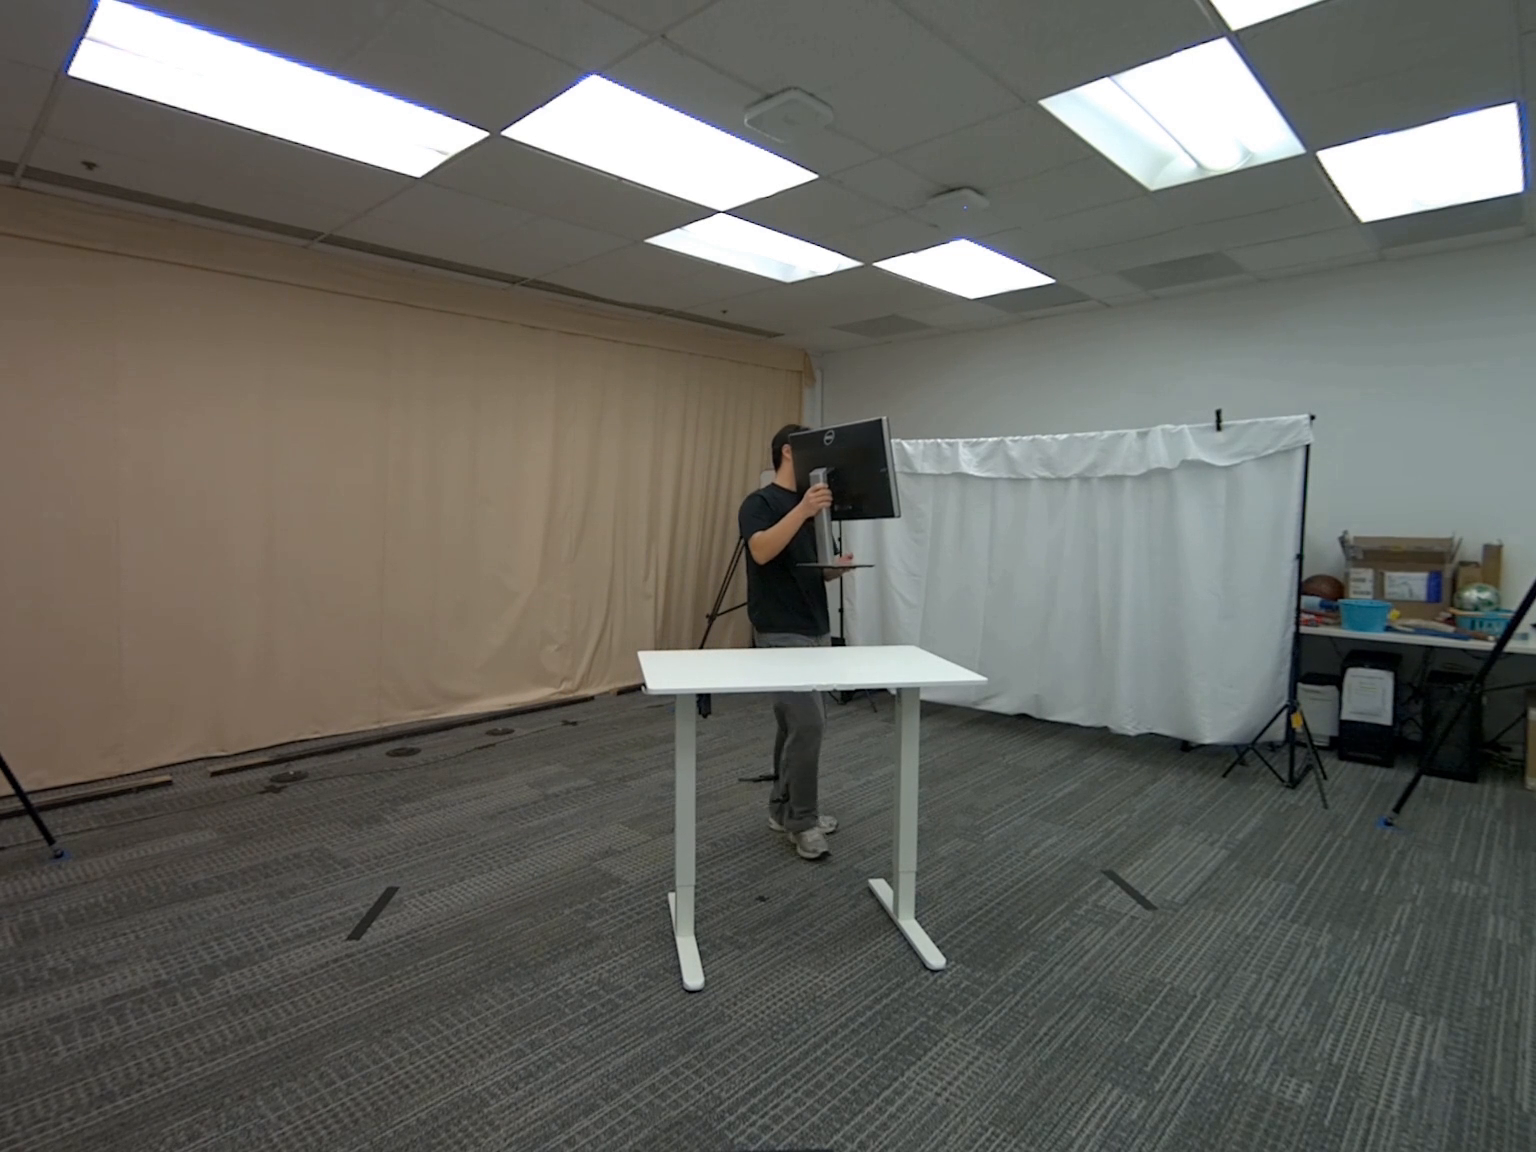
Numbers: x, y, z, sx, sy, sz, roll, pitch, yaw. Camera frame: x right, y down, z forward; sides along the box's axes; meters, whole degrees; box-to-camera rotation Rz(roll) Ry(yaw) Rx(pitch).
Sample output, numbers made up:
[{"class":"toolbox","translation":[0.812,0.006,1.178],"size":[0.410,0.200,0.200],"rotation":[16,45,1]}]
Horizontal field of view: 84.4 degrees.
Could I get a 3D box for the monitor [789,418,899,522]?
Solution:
[{"class":"monitor","translation":[0.260,-0.286,3.197],"size":[0.216,0.566,0.577],"rotation":[4,-1,-30]}]
